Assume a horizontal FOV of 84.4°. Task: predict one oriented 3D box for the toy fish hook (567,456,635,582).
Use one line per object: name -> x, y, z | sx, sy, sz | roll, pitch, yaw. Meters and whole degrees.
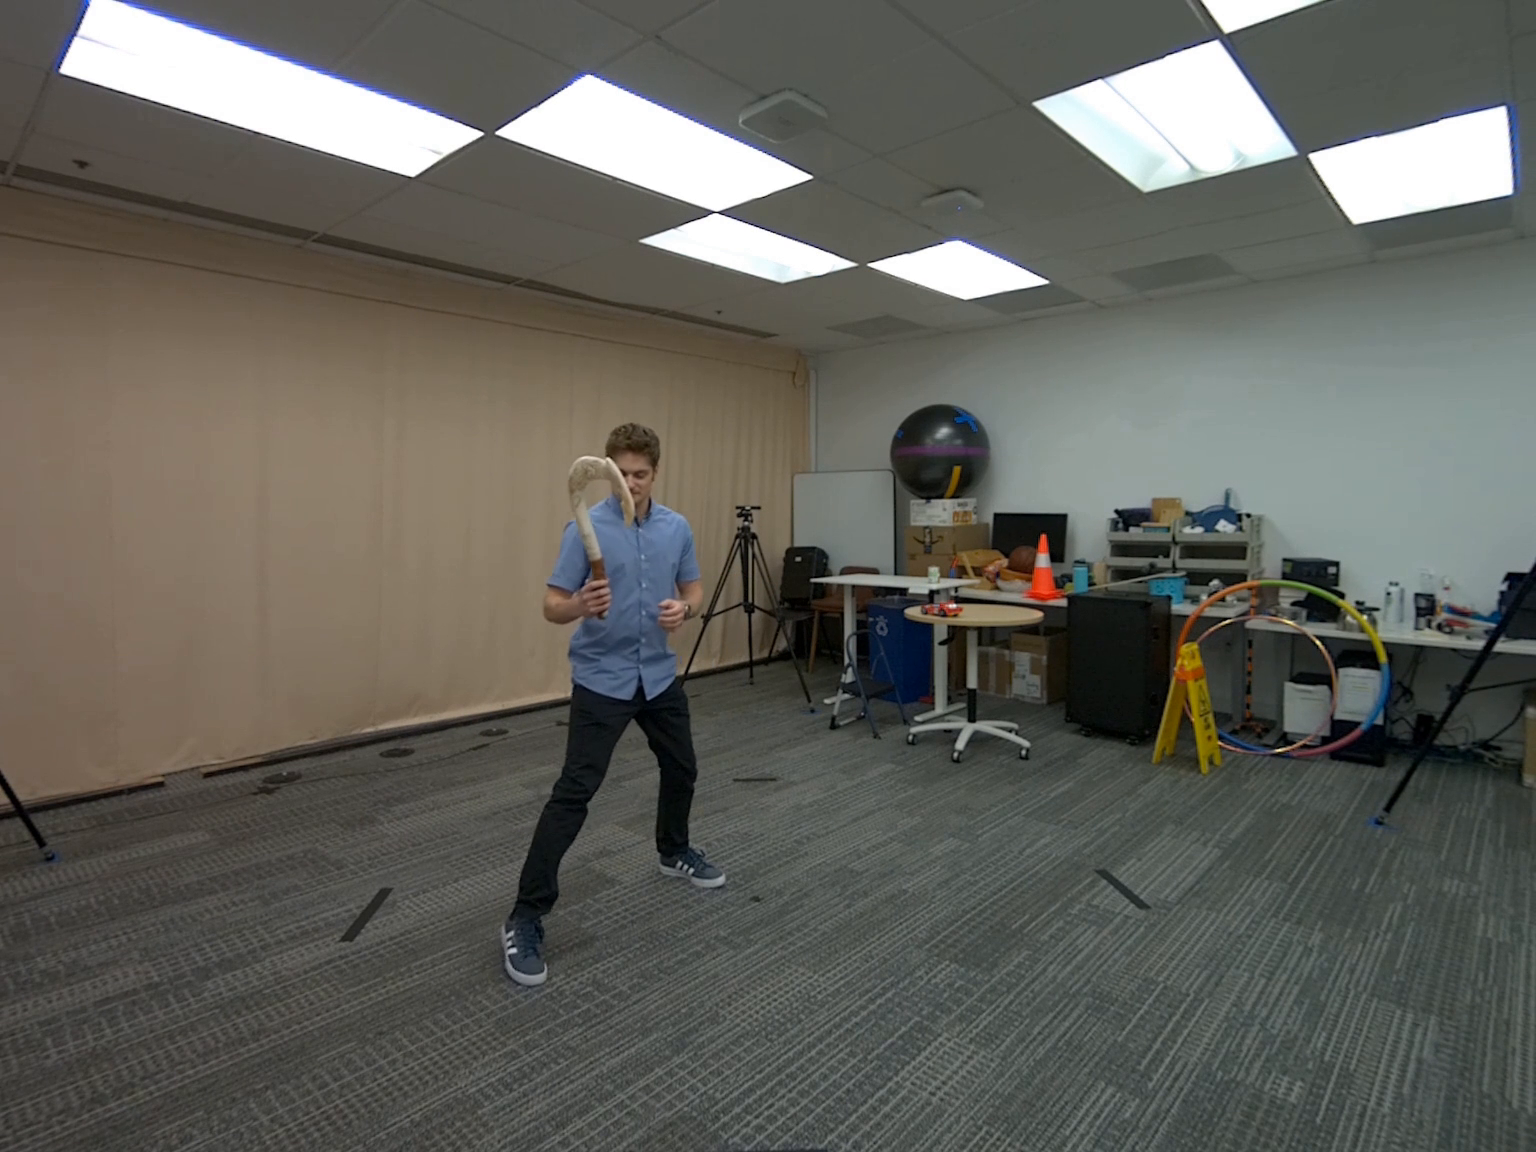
toy fish hook -> -0.465, -0.089, 2.422 | 0.232, 0.499, 0.047 | 13, 27, 32
